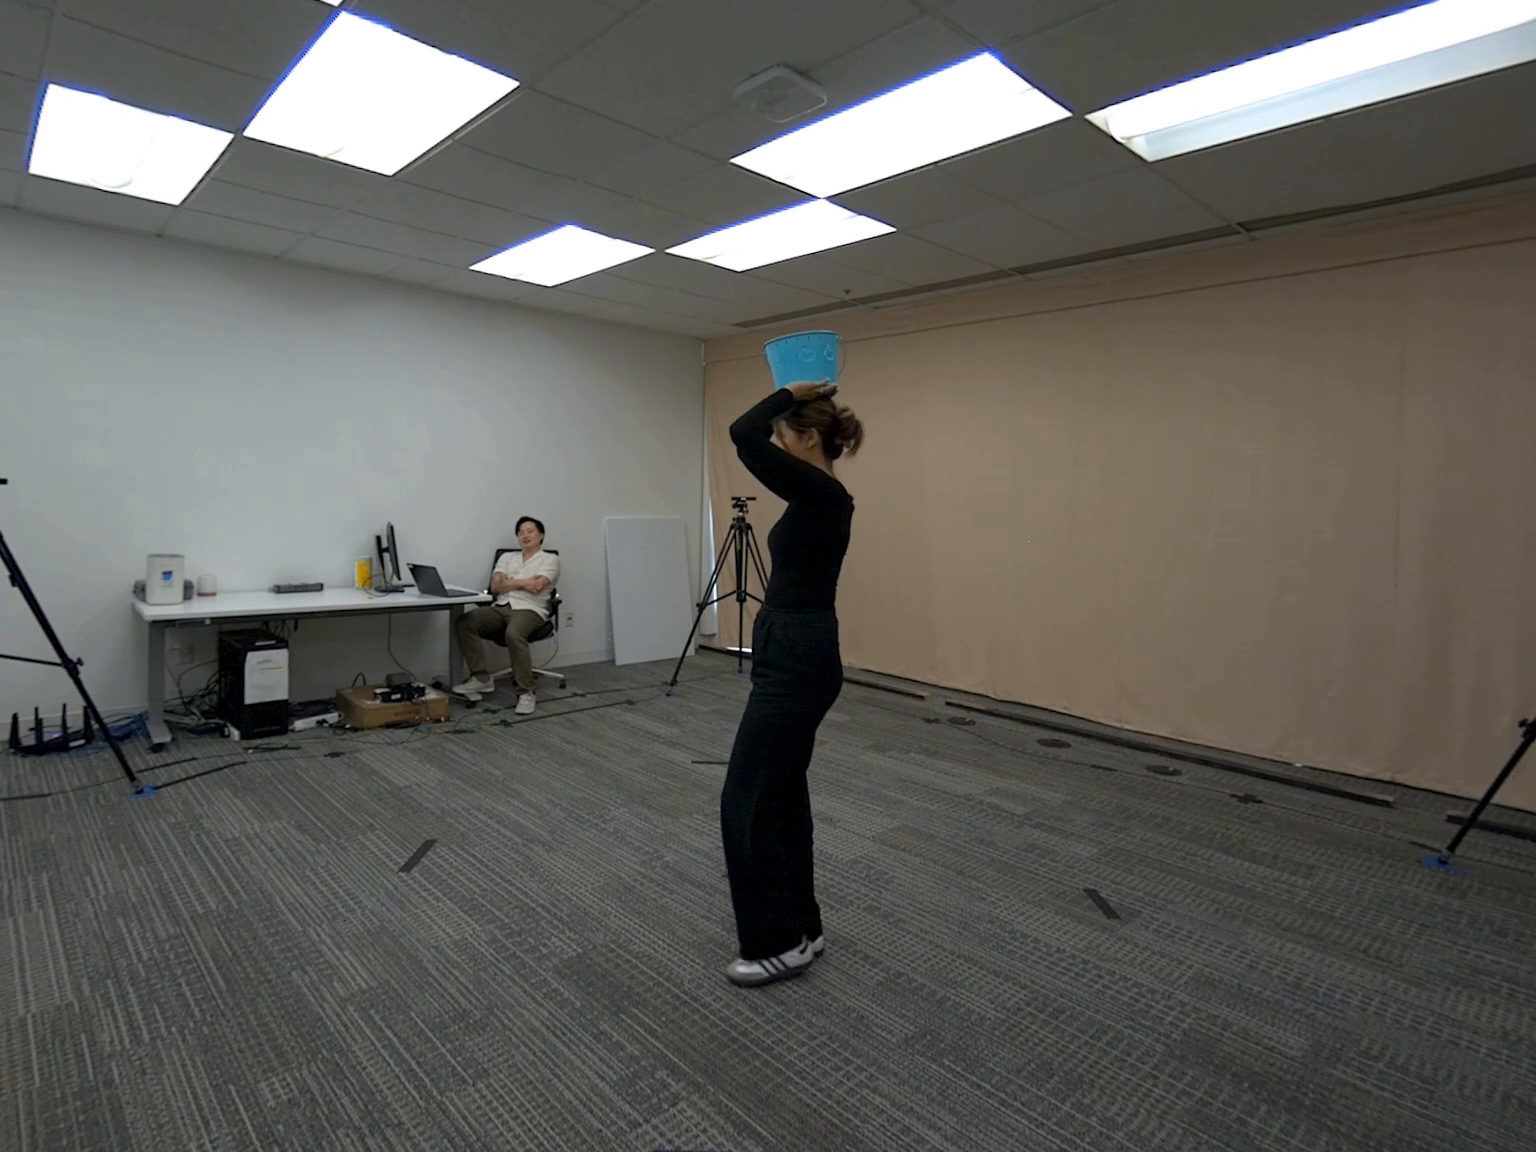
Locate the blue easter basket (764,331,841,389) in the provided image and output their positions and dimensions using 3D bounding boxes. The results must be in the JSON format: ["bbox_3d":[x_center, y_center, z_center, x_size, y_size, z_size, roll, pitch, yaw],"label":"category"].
[{"bbox_3d":[0.112,-0.629,2.520,0.243,0.156,0.244,-6,1,-1],"label":"blue easter basket"}]
